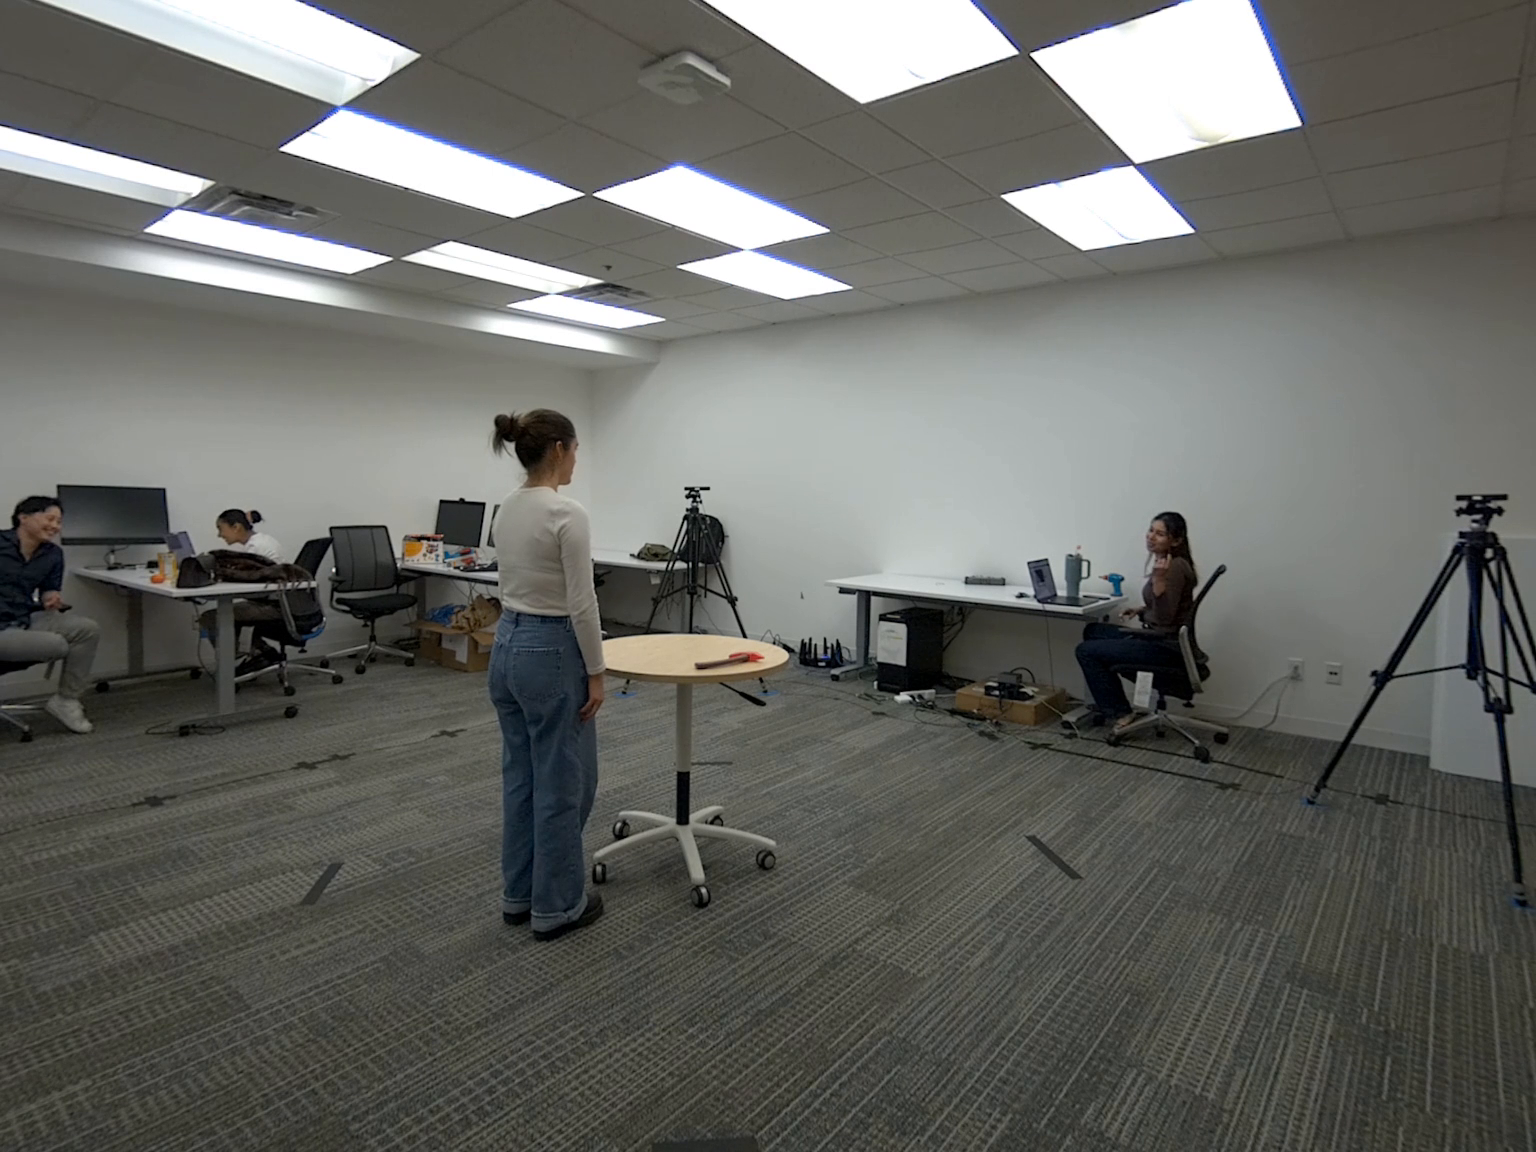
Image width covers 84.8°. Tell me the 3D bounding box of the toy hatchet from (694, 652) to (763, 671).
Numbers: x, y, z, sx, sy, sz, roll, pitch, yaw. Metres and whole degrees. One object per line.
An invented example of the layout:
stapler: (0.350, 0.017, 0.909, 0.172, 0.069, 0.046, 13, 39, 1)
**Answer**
toy hatchet: (-0.159, 0.292, 2.956, 0.263, 0.029, 0.135, -4, 6, -31)
